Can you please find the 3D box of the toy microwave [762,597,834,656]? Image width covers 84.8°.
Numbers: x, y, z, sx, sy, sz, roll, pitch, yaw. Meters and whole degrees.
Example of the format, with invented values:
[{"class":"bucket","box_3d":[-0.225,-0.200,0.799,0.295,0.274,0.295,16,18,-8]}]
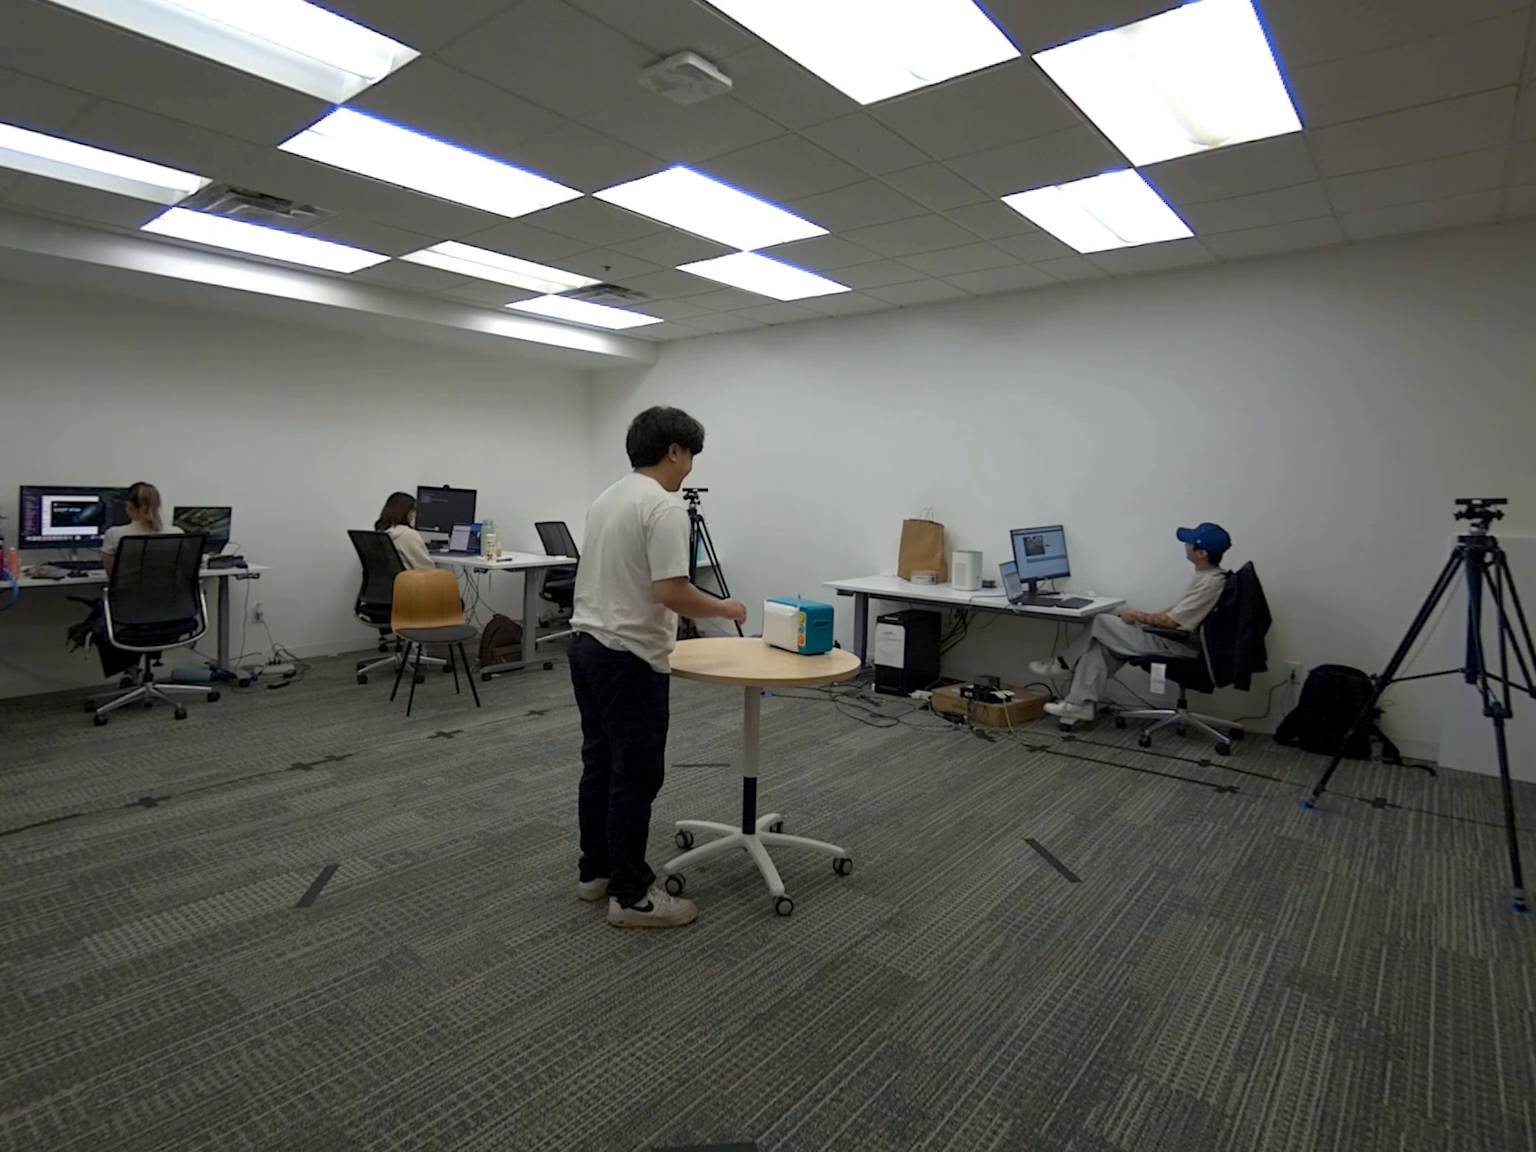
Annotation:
[{"class":"toy microwave","box_3d":[0.097,0.182,3.219,0.148,0.183,0.296,-2,6,-35]}]
